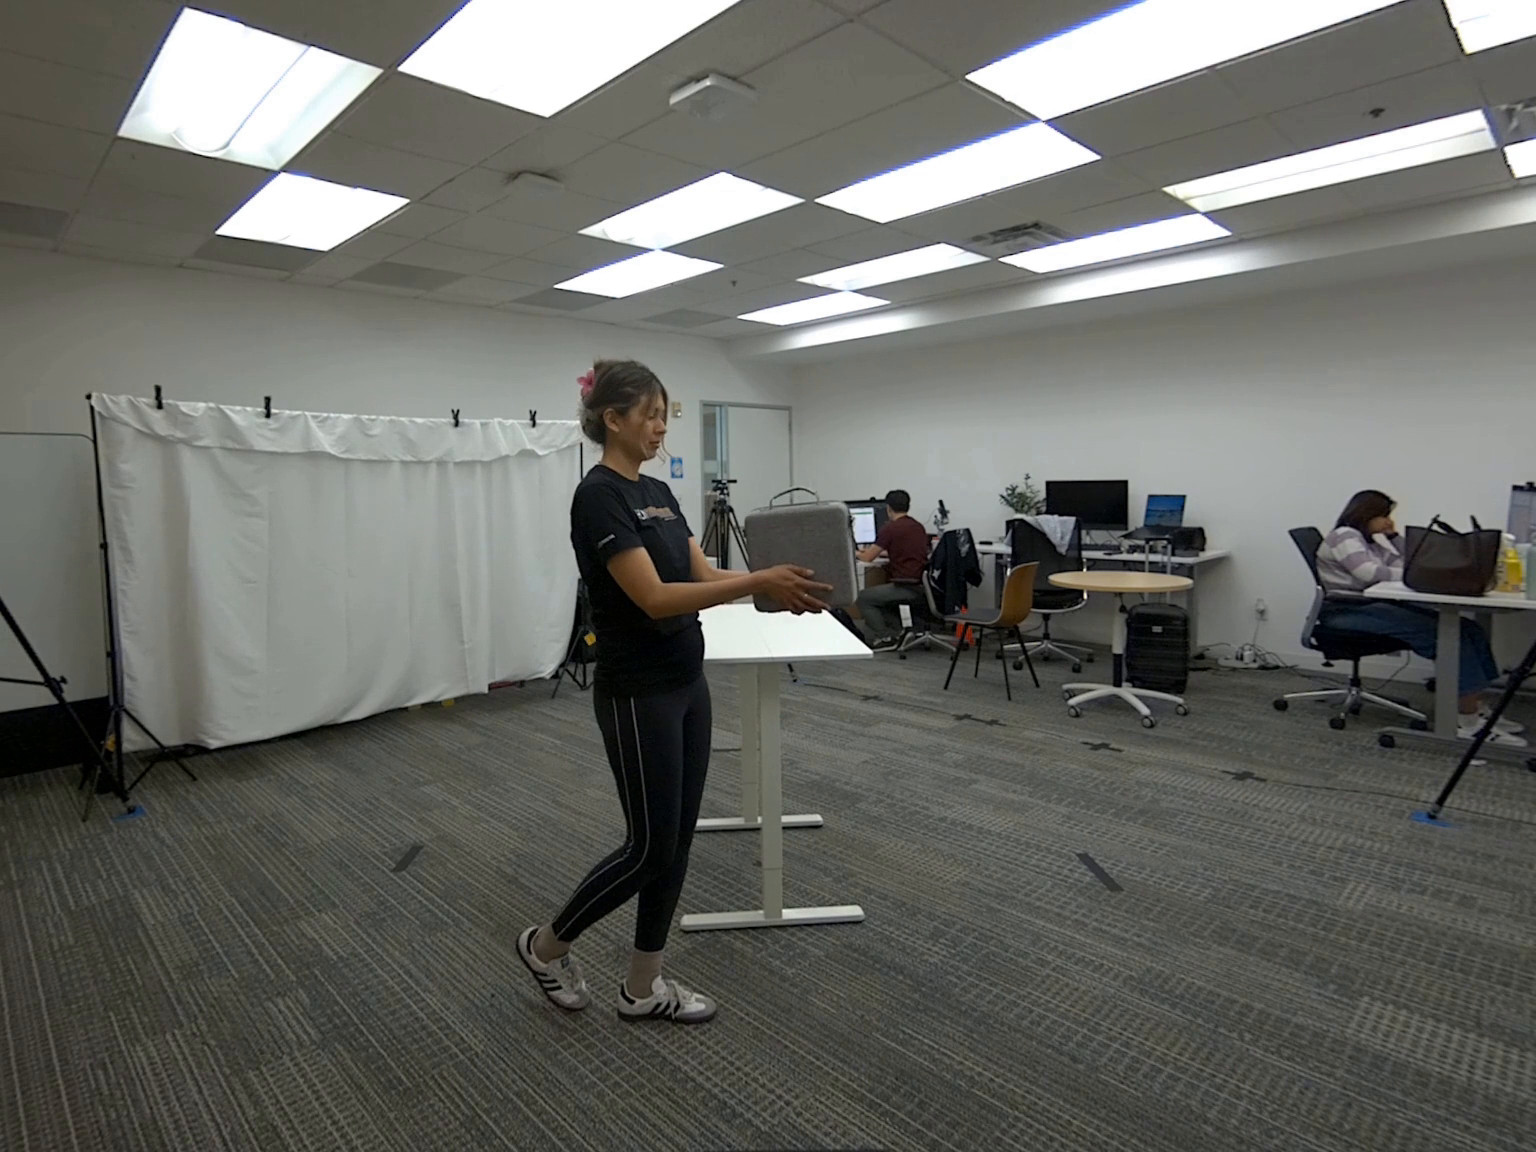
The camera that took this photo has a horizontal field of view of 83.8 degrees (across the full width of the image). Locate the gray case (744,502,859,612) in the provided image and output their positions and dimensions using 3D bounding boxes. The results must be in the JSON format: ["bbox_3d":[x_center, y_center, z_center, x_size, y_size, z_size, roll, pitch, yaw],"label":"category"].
[{"bbox_3d":[0.080,-0.050,2.062,0.261,0.259,0.103,-6,5,17],"label":"gray case"}]
